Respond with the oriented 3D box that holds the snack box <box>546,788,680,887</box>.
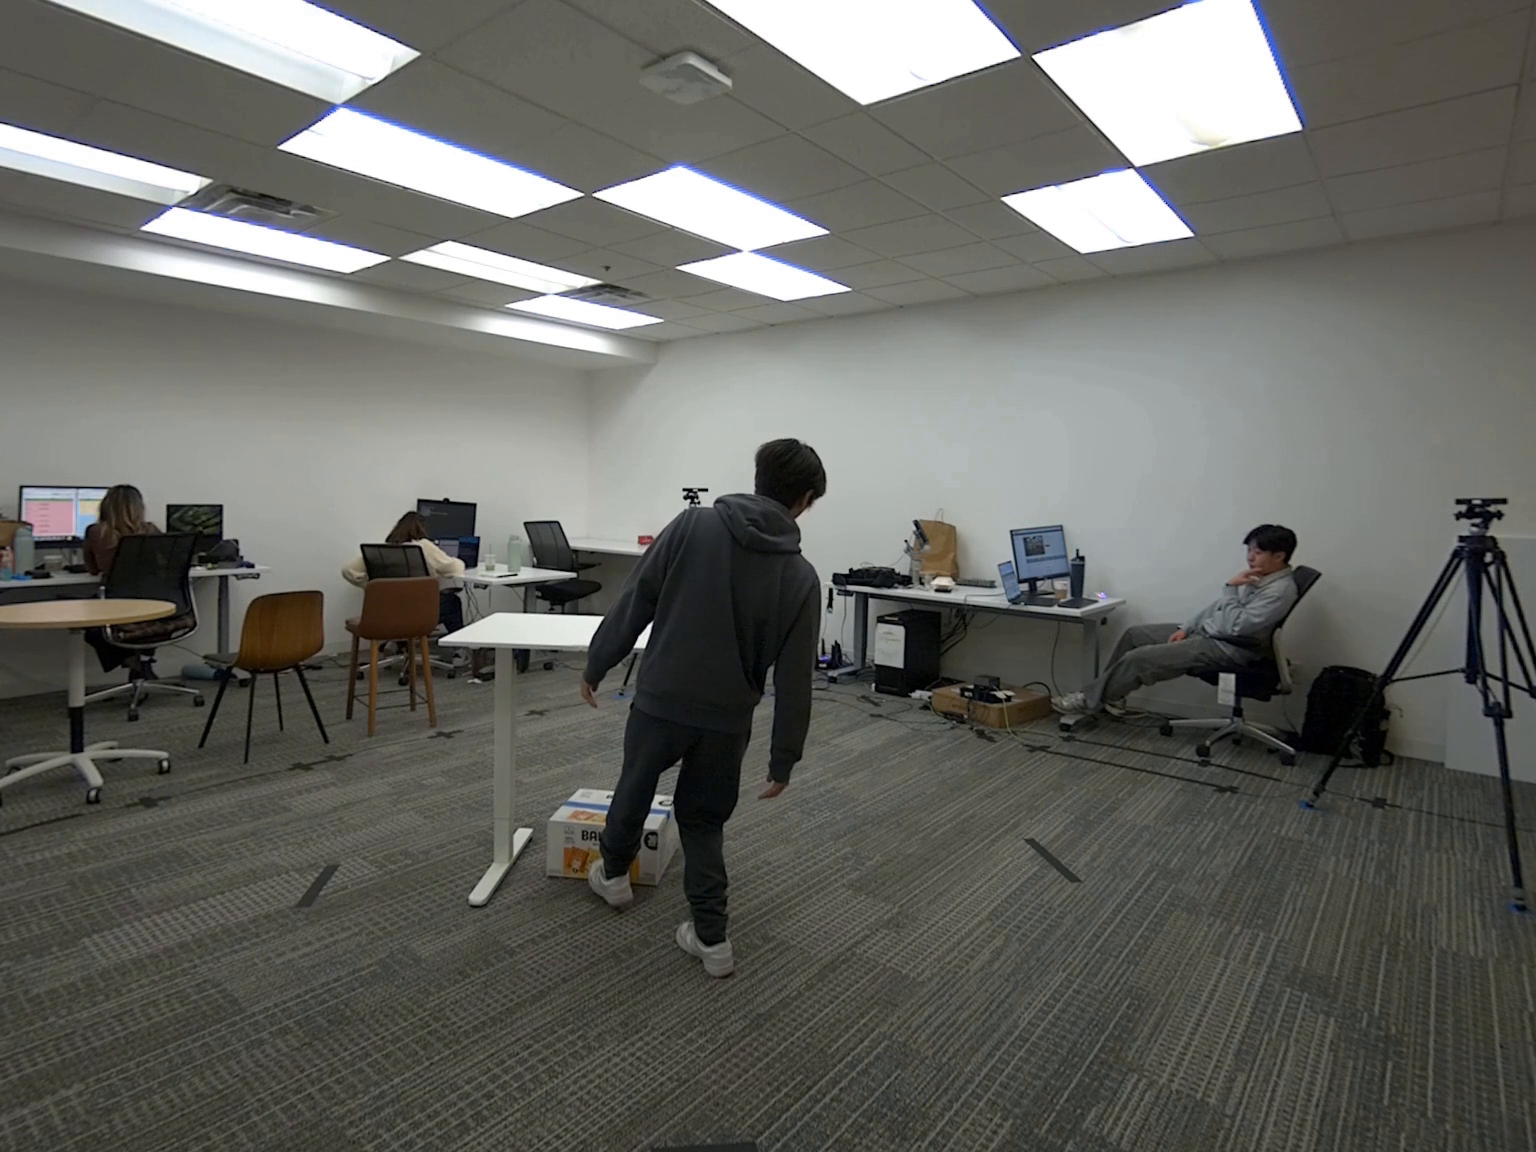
[{"bbox_3d":[-0.575,0.957,3.149,0.409,0.205,0.338,2,5,8],"label":"snack box"}]
